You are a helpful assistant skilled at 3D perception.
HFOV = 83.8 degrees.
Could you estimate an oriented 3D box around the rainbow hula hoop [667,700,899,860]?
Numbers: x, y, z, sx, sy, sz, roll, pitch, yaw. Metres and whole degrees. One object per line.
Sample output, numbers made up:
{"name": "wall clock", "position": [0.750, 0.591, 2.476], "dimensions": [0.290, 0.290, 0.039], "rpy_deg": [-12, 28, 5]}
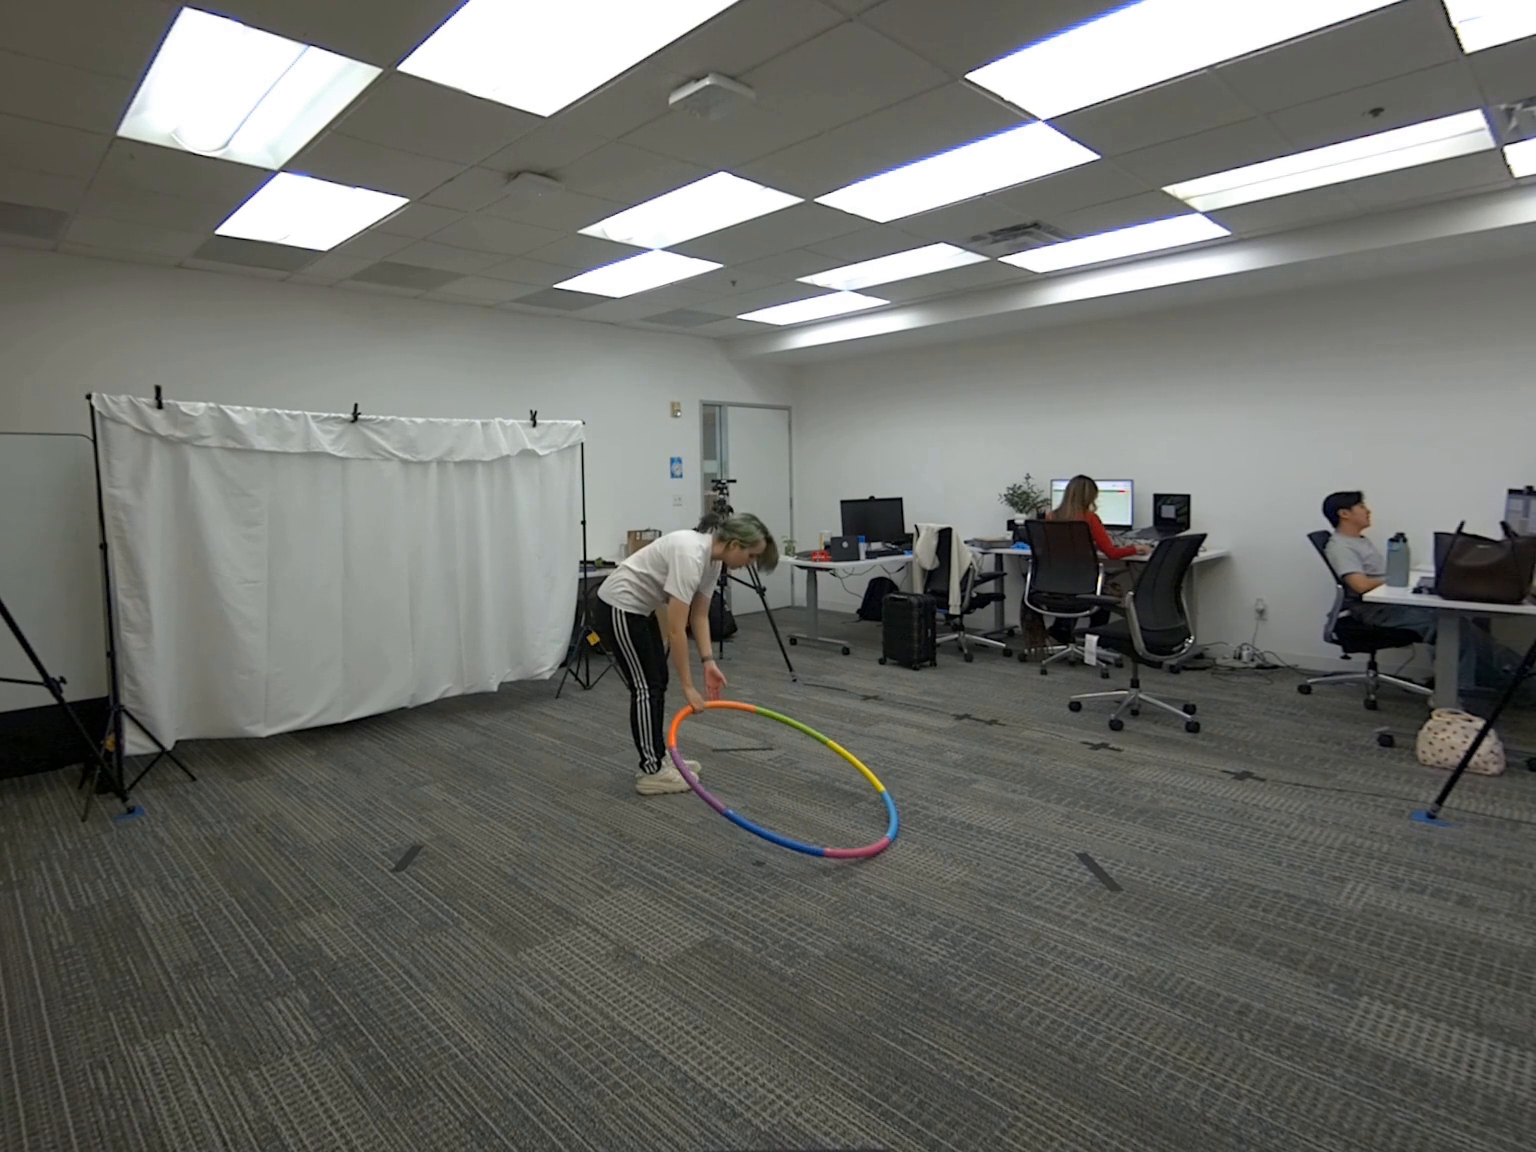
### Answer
{"name": "rainbow hula hoop", "position": [0.062, 0.788, 3.460], "dimensions": [0.971, 0.035, 0.994], "rpy_deg": [19, 16, -7]}
